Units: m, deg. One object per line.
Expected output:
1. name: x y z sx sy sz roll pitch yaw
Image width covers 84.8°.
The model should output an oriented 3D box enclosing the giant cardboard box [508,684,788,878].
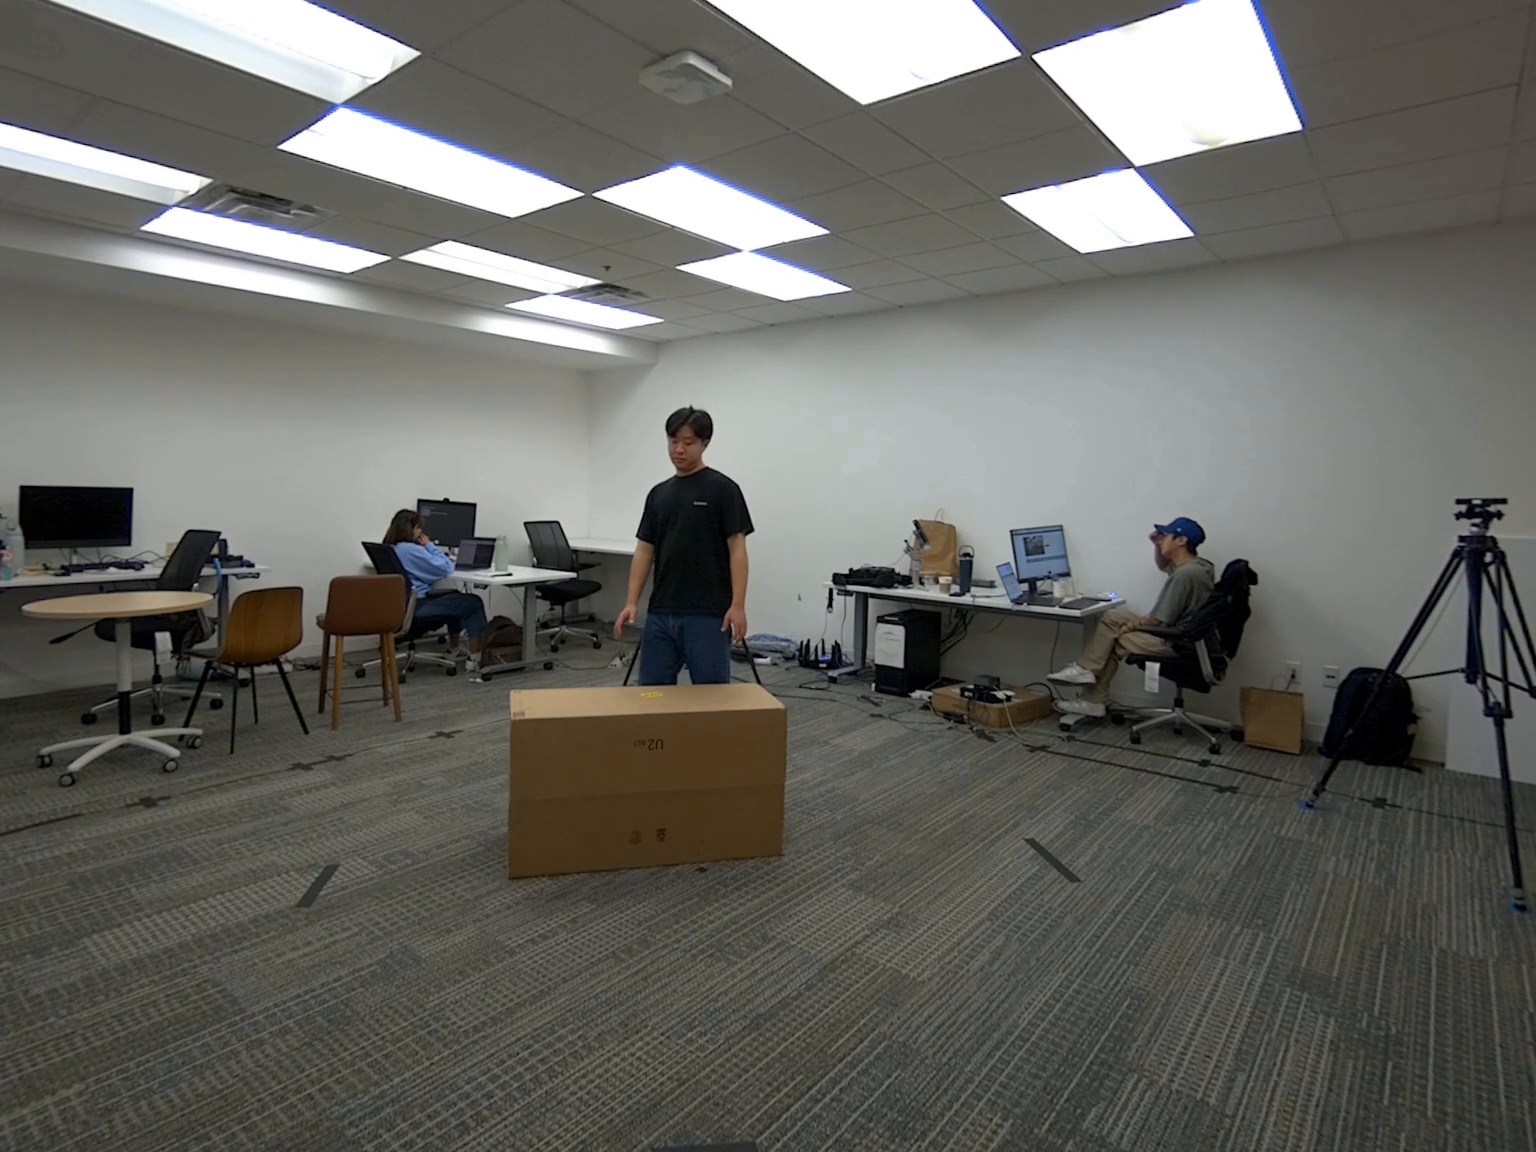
1. giant cardboard box: -0.493 0.758 3.305 1.011 0.583 0.455 0 3 -15
